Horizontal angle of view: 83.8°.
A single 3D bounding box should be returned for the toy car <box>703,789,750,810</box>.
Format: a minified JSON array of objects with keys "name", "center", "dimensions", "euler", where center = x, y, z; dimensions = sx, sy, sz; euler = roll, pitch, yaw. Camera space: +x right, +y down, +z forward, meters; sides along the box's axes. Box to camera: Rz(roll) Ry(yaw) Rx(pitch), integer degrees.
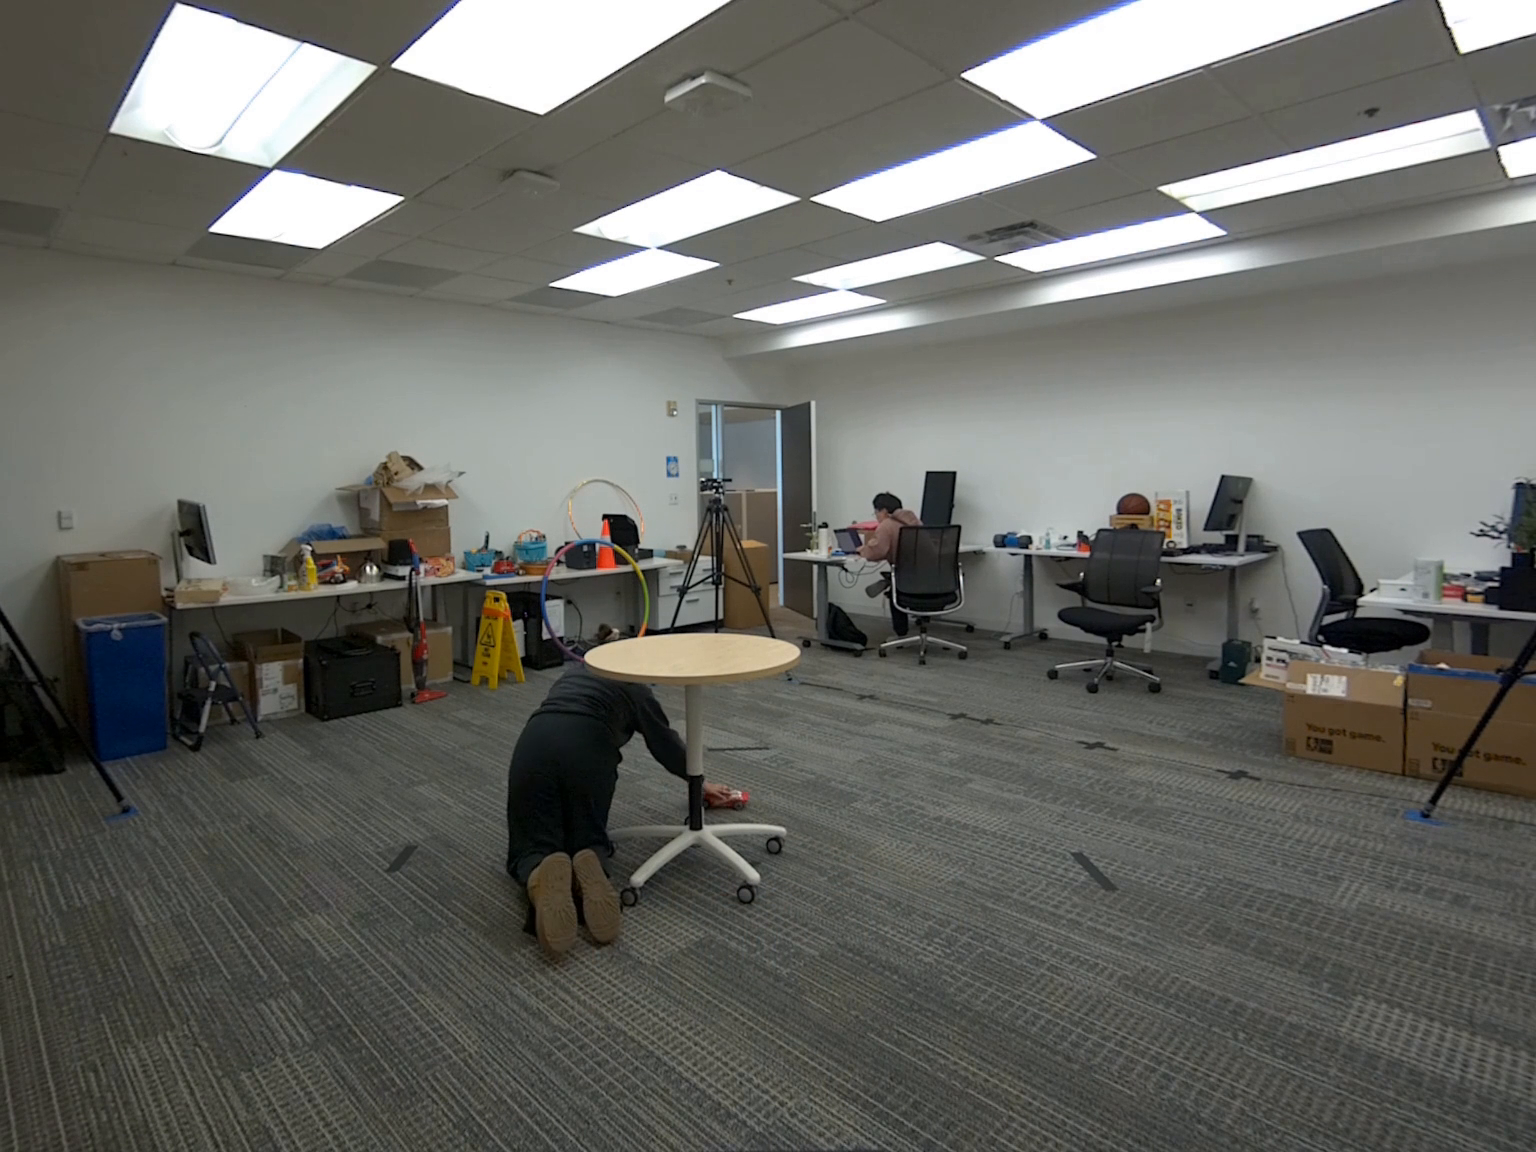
[{"name":"toy car","center":[-0.220,0.953,3.659],"dimensions":[0.256,0.083,0.130],"euler":[10,8,5]}]
